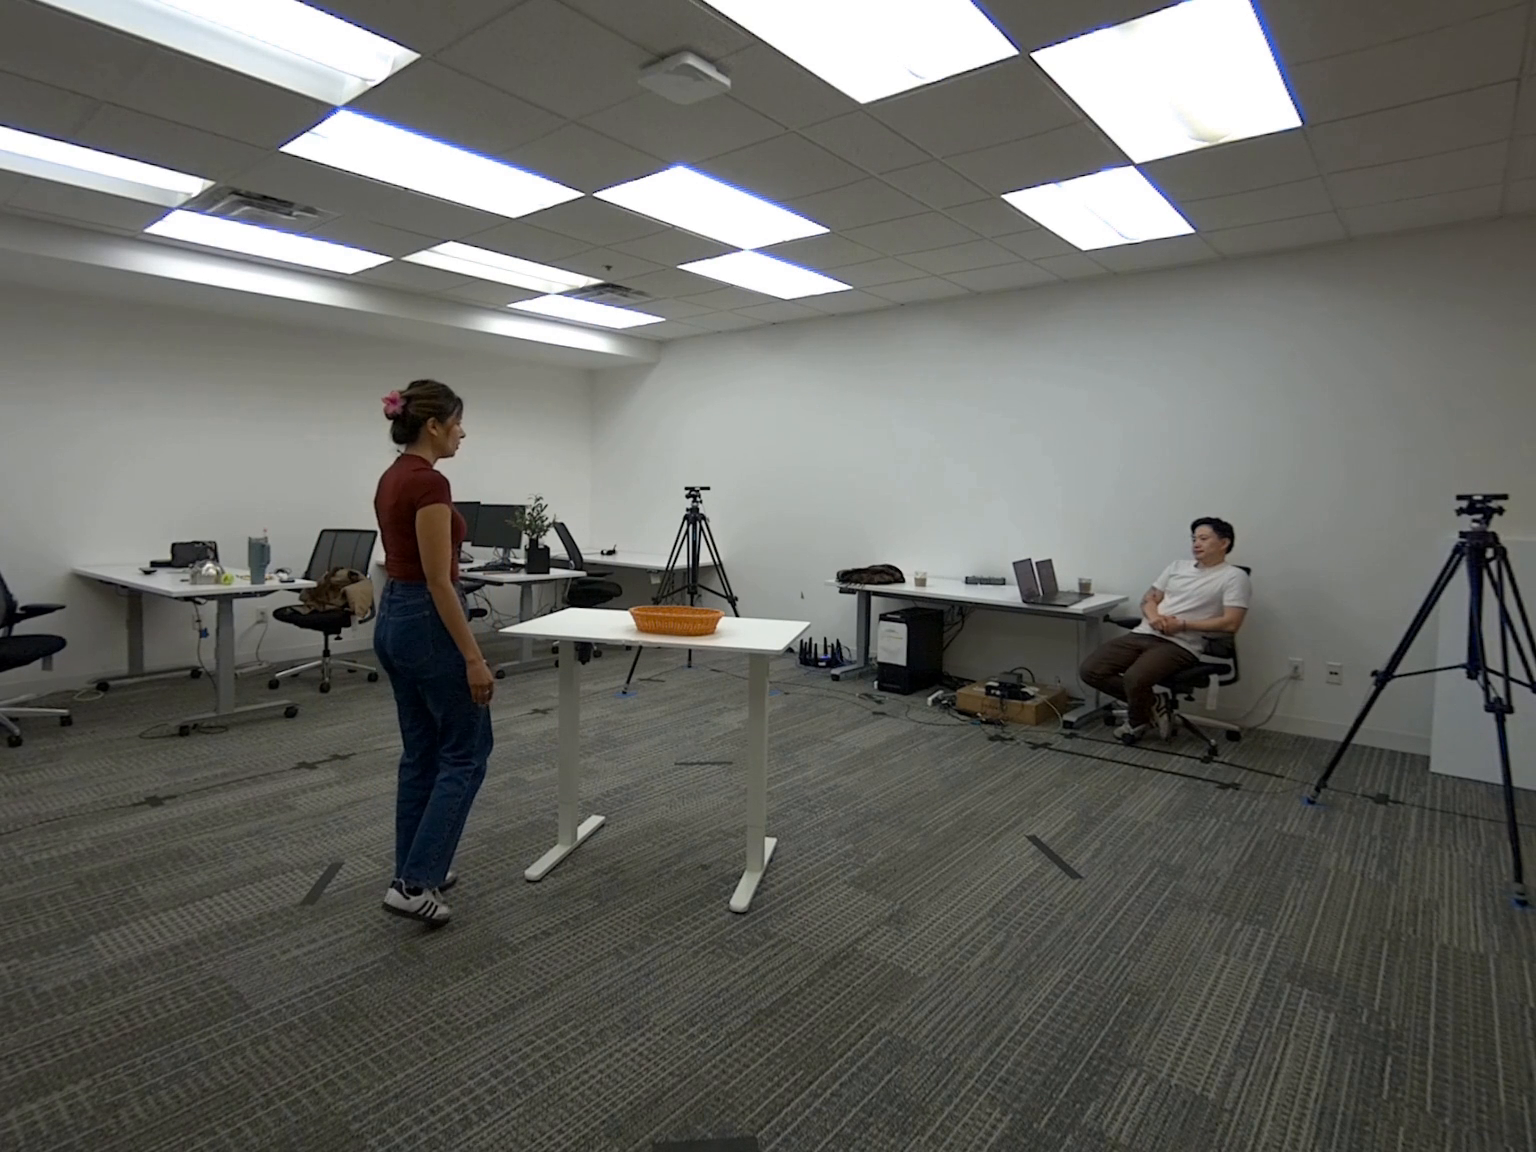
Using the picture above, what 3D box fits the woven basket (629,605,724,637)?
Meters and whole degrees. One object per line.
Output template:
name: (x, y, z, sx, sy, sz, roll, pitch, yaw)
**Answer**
woven basket: (-0.339, 0.166, 3.010, 0.356, 0.073, 0.249, 2, 5, 15)
